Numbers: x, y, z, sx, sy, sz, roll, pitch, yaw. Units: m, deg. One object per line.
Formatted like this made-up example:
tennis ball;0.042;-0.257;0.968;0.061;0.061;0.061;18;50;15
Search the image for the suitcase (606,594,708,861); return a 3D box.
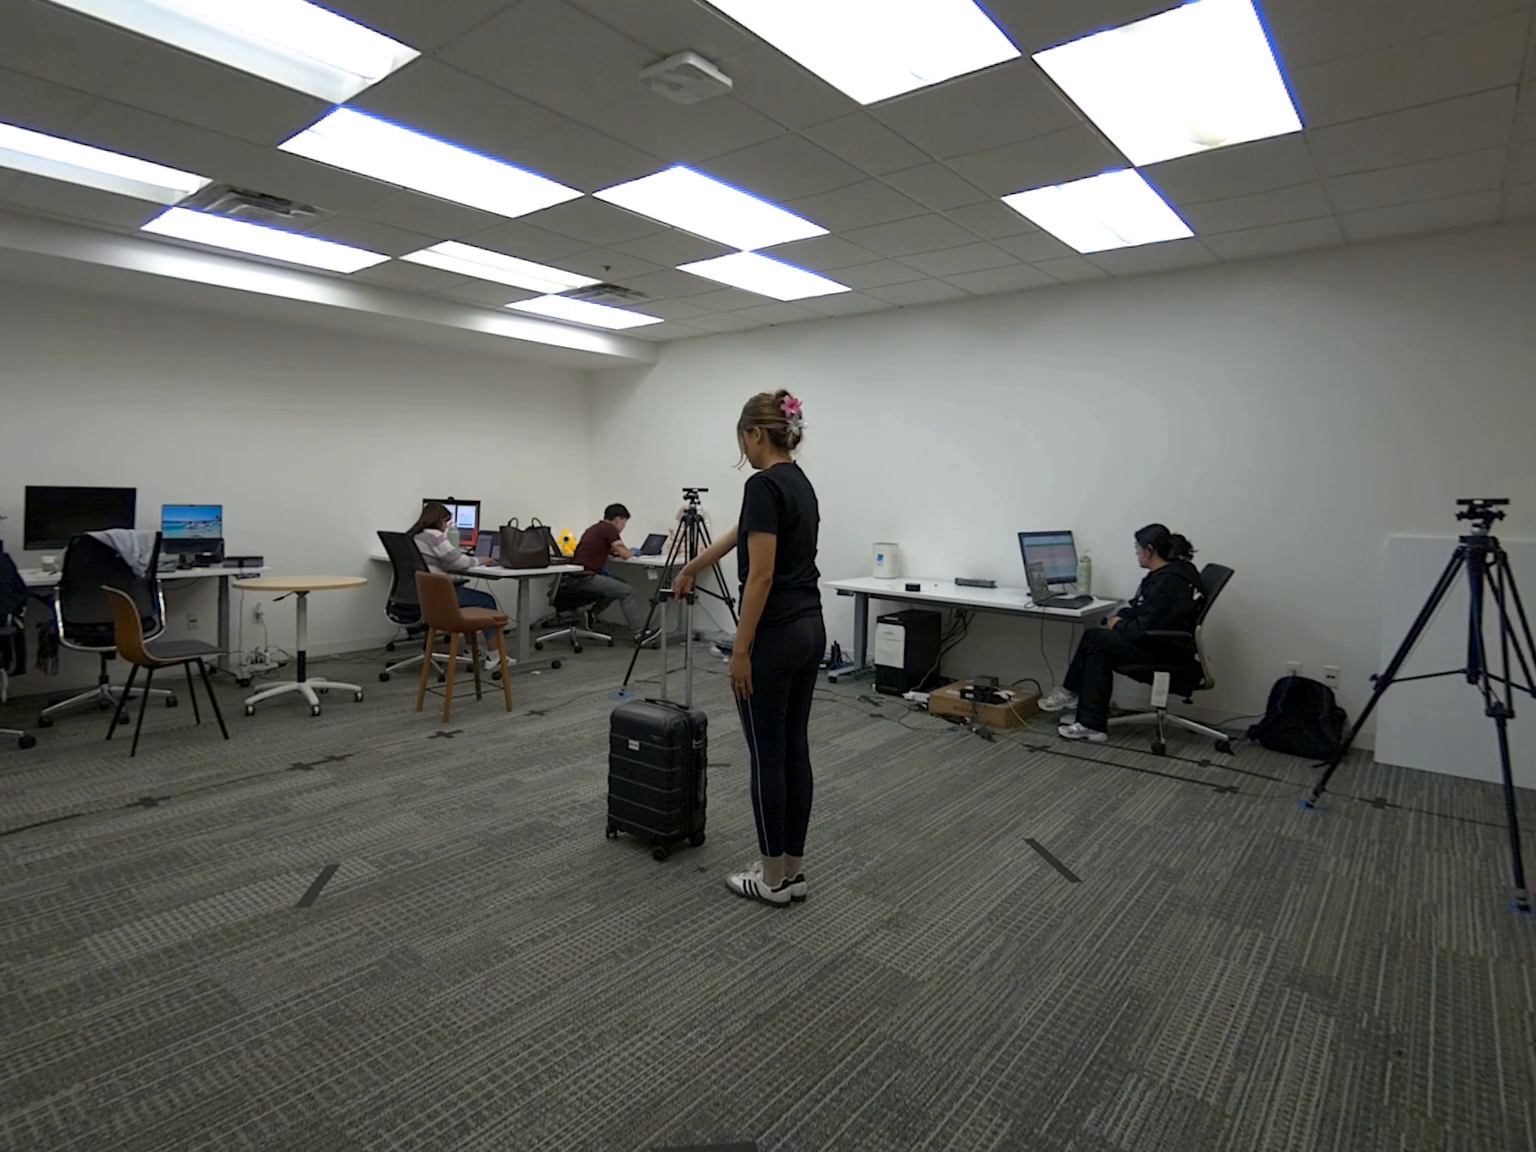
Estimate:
suitcase;-0.443;0.569;3.326;0.397;0.975;0.249;3;5;38
